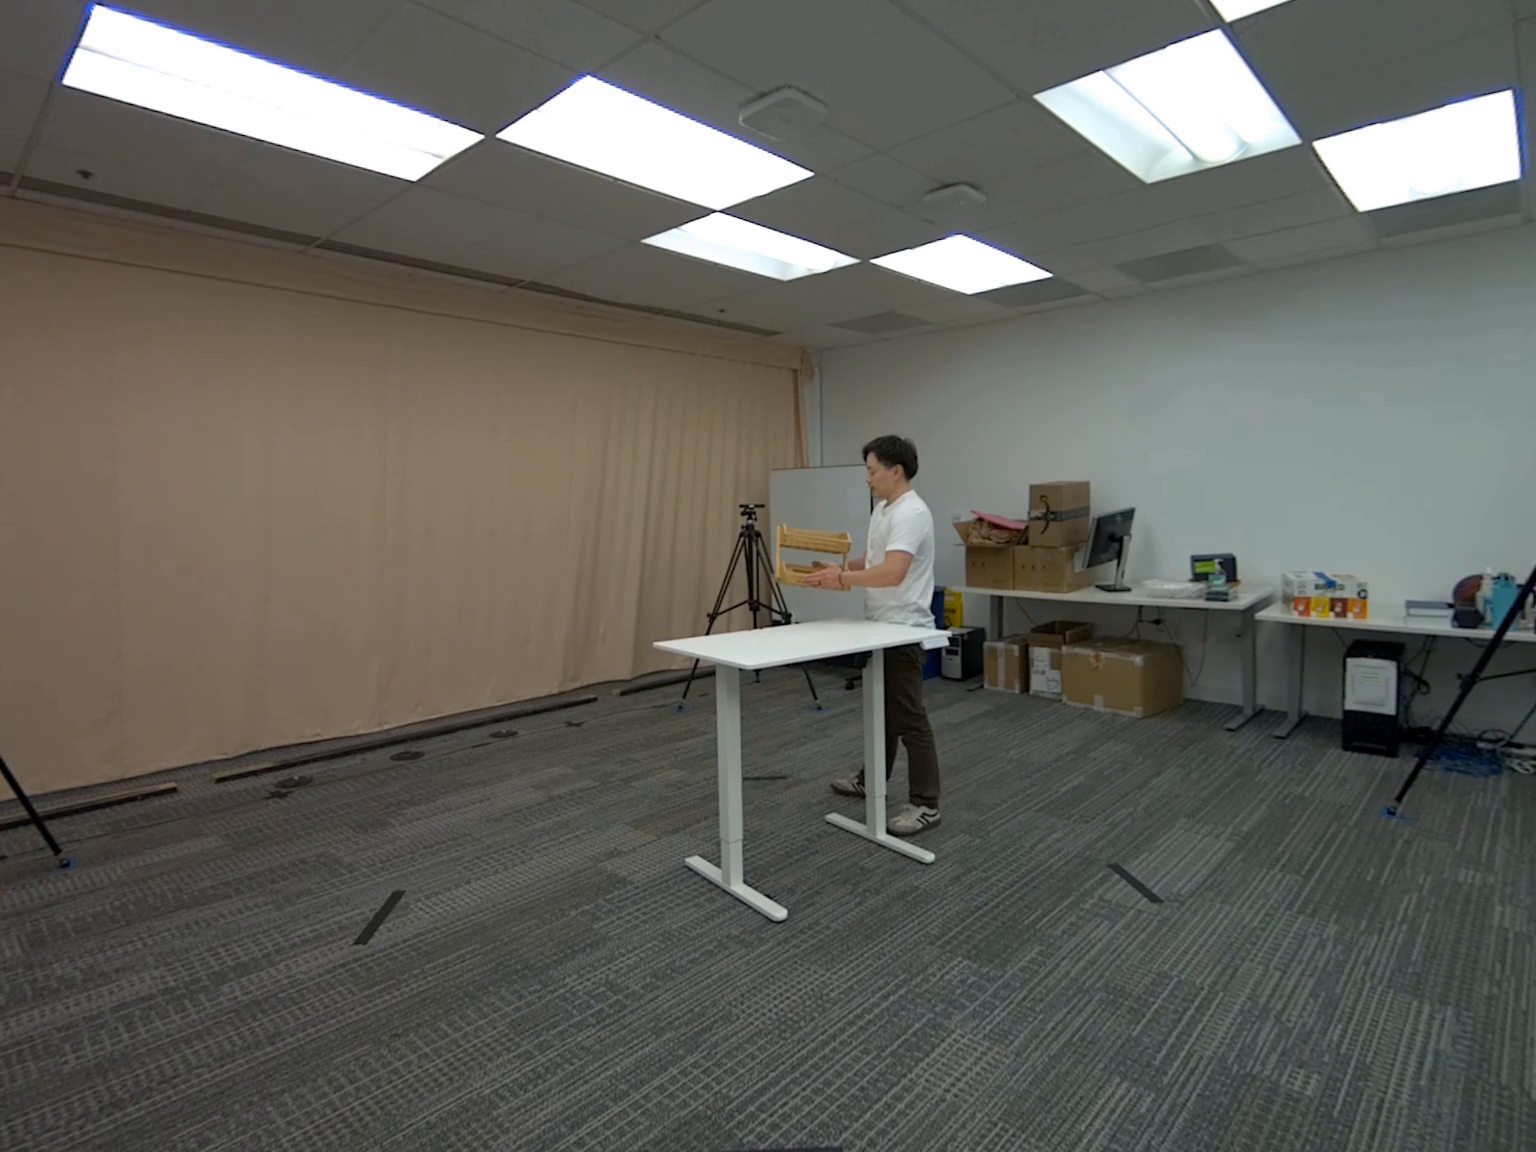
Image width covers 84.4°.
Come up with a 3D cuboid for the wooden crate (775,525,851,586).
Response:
[{"bbox_3d":[0.210,-0.081,3.752,0.321,0.273,0.305,7,0,-9],"label":"wooden crate"}]
